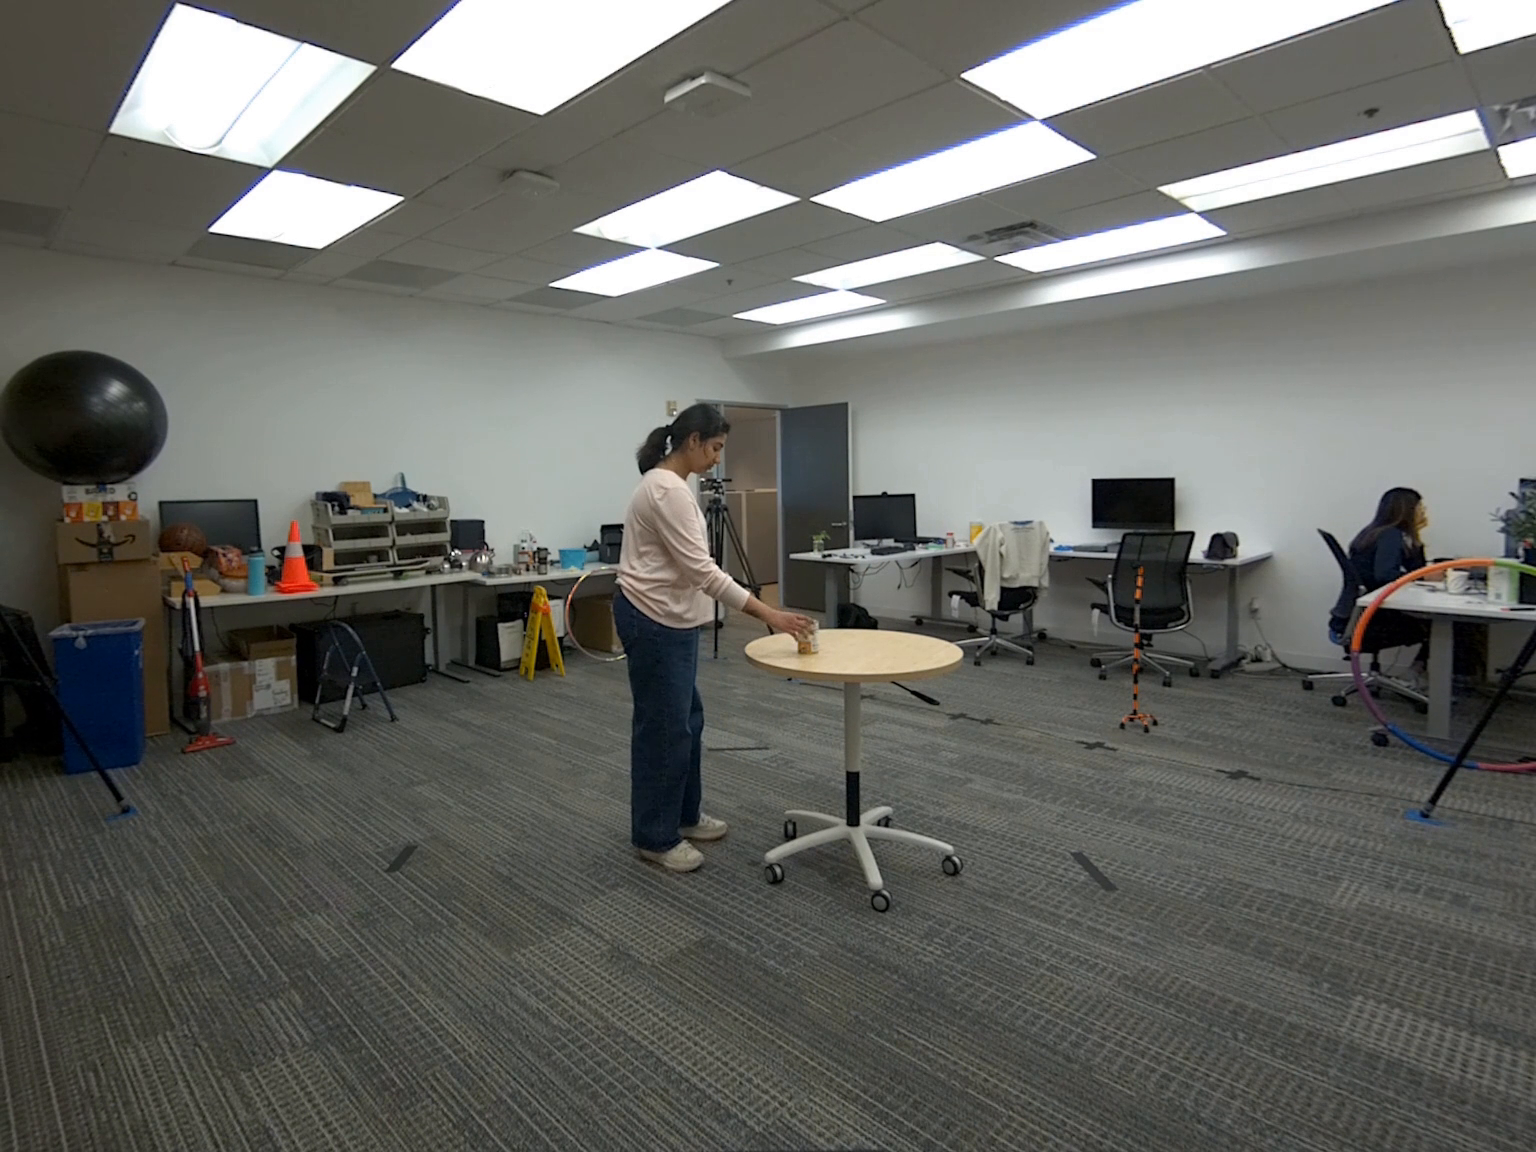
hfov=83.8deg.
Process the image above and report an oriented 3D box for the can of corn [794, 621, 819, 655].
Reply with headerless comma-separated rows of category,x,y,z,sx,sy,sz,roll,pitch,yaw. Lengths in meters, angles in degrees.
can of corn,0.135,0.211,2.992,0.074,0.111,0.074,-1,2,-2
